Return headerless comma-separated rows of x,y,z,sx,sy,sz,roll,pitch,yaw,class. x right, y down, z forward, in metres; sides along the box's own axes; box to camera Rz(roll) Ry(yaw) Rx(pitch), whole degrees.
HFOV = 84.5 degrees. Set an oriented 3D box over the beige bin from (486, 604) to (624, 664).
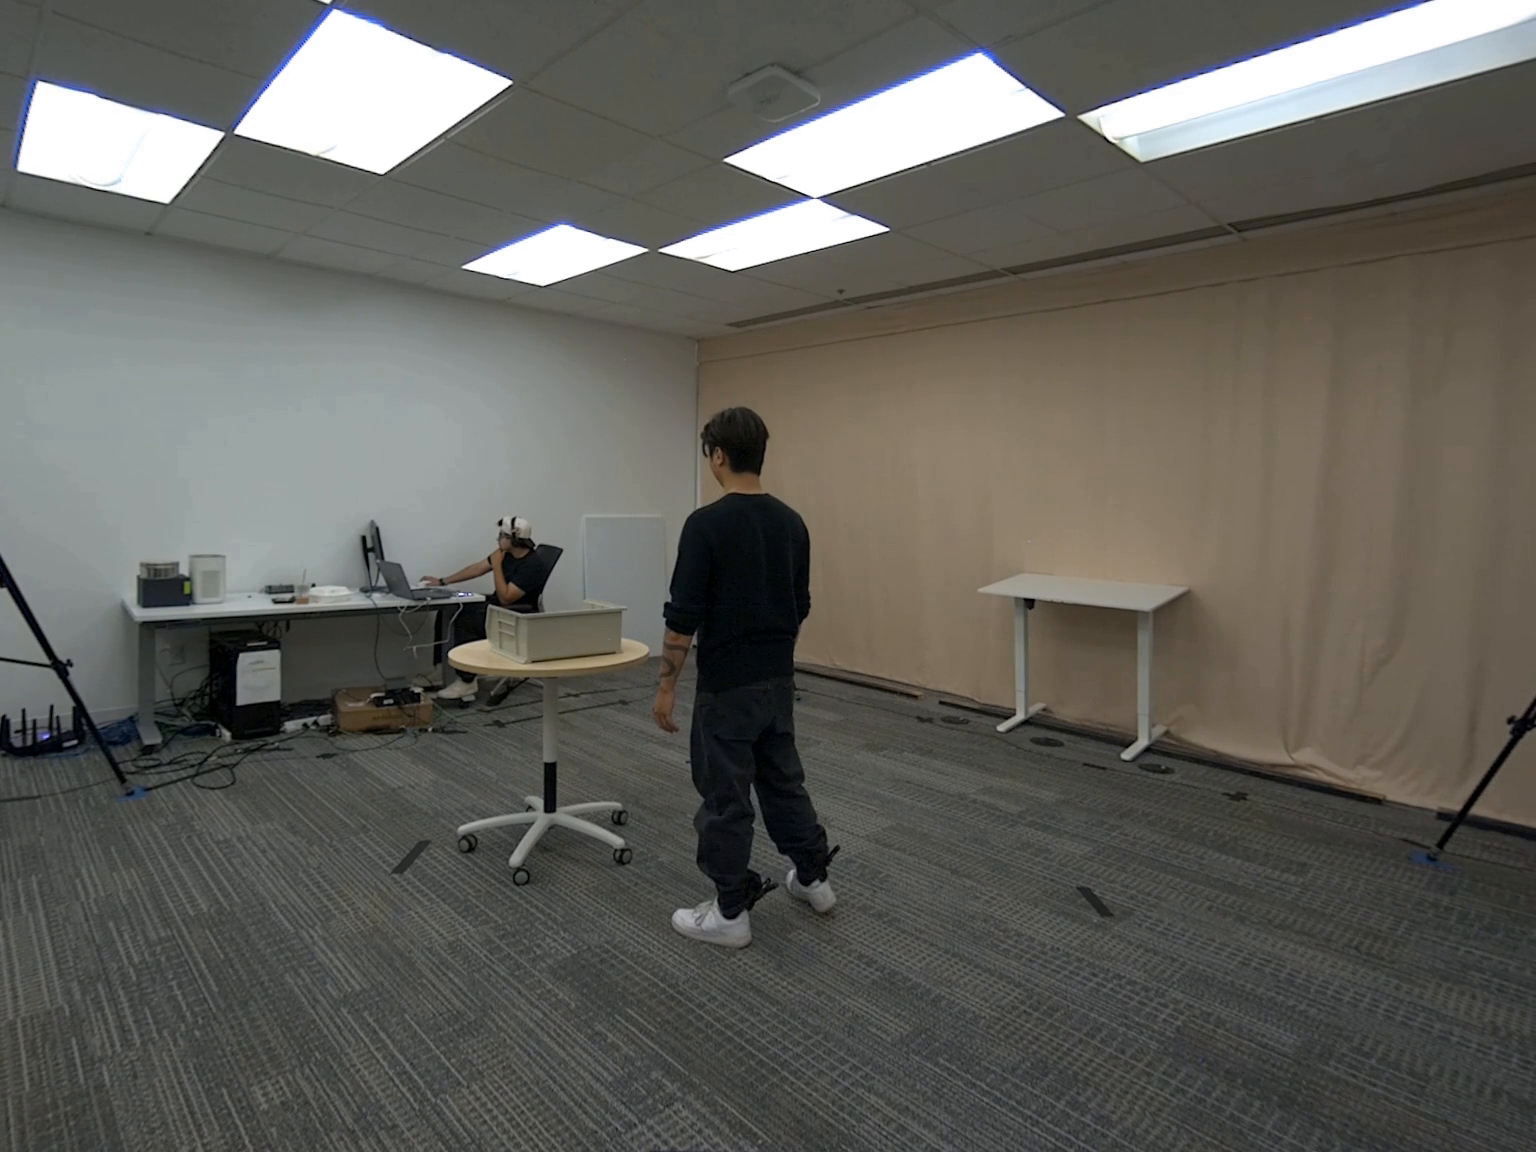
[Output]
-0.824,0.201,3.261,0.413,0.188,0.387,-3,8,-38,beige bin
